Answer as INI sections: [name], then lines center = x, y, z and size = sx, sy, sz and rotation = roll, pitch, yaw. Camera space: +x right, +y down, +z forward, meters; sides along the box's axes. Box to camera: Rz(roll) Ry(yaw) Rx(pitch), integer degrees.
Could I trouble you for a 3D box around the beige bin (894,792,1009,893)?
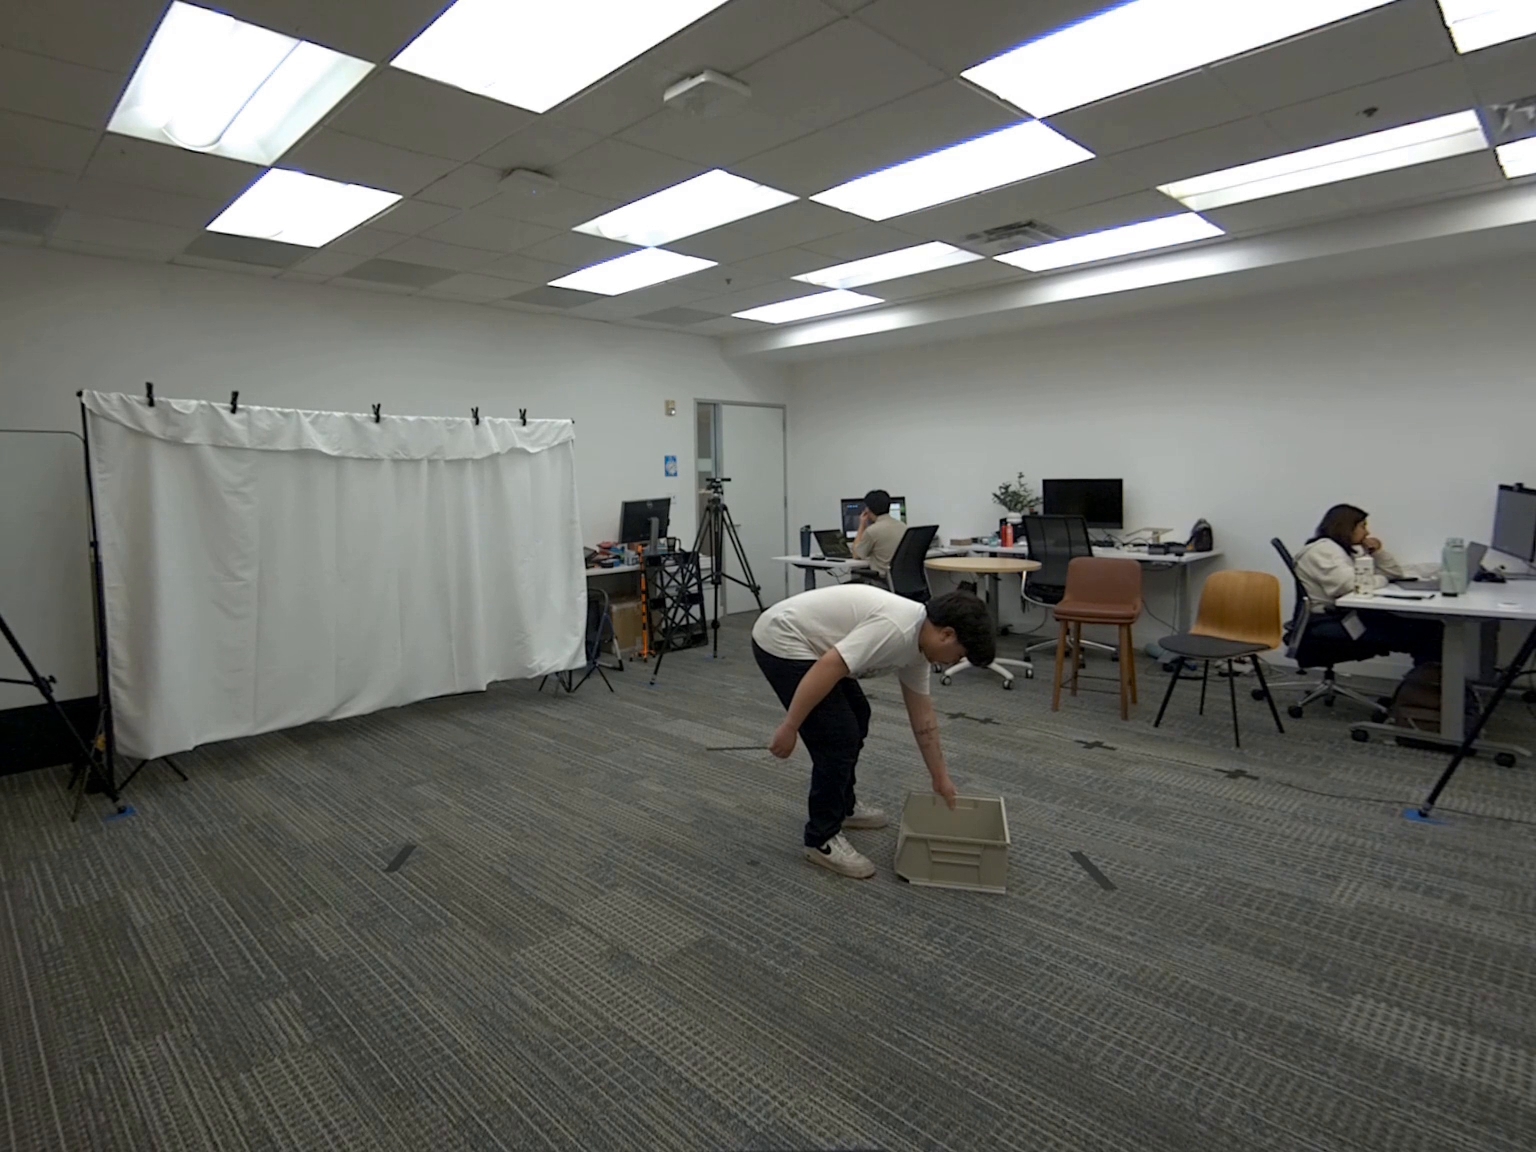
[beige bin]
center = 0.659, 0.943, 3.074
size = 0.383, 0.188, 0.418
rotation = 1, 6, 13
